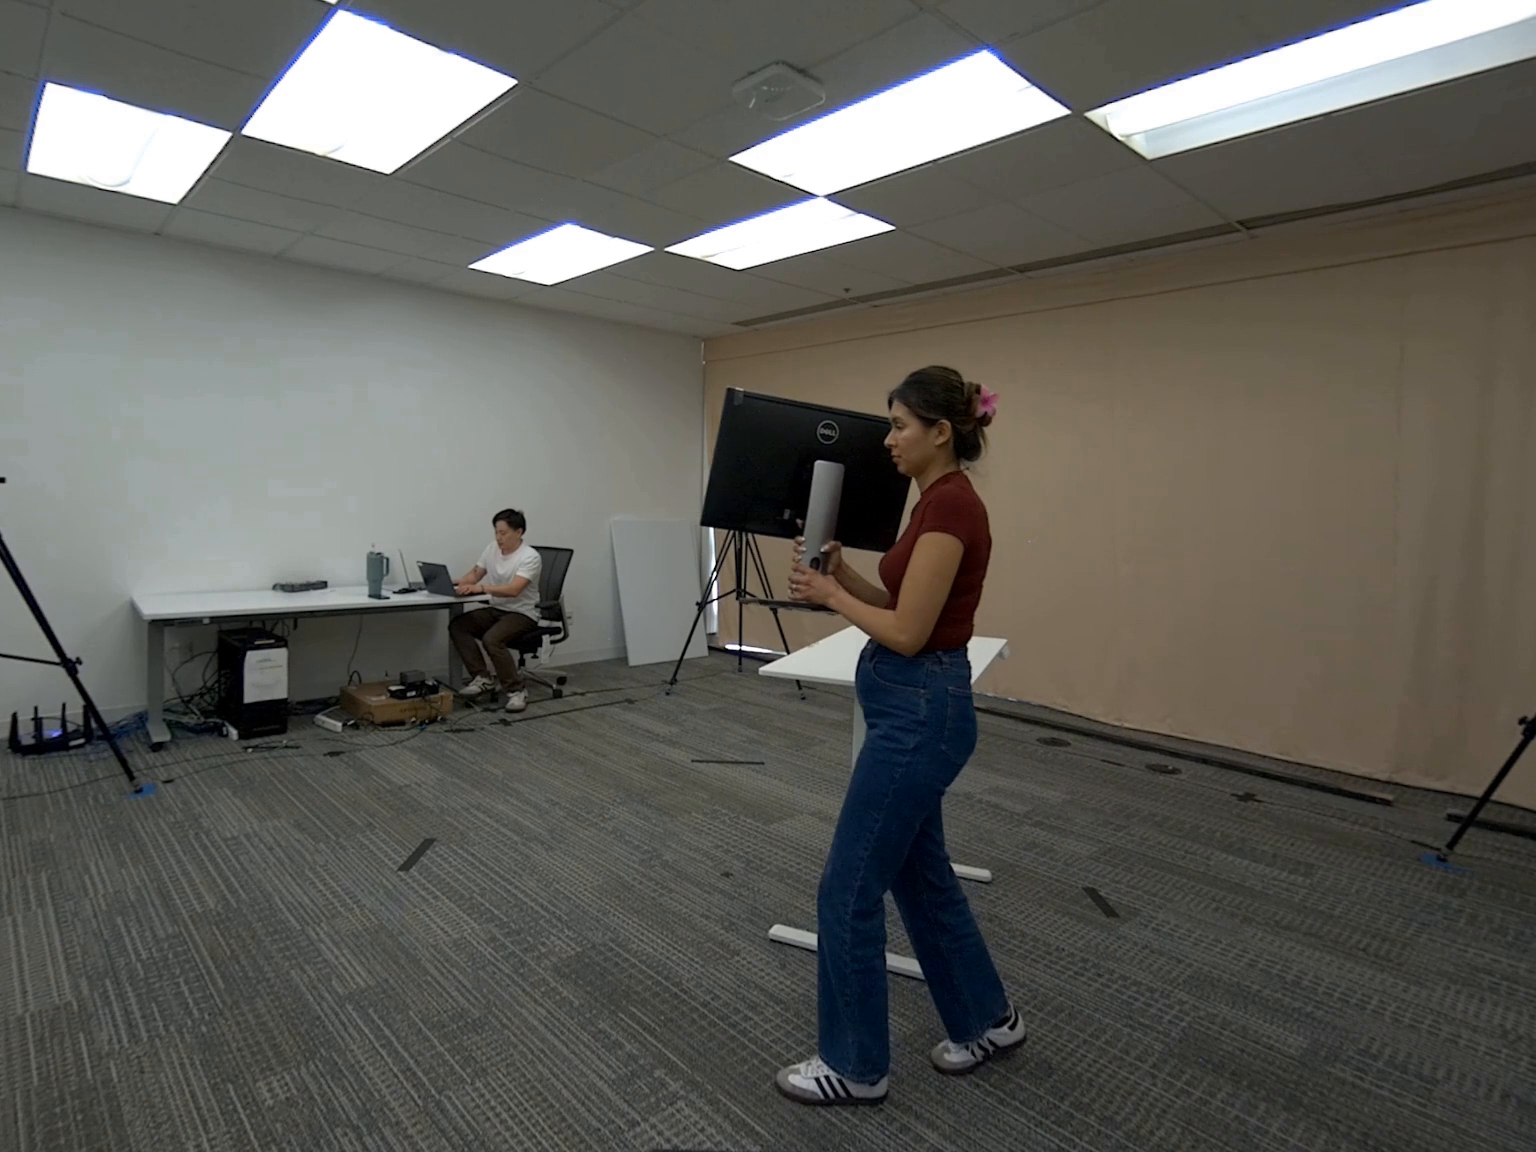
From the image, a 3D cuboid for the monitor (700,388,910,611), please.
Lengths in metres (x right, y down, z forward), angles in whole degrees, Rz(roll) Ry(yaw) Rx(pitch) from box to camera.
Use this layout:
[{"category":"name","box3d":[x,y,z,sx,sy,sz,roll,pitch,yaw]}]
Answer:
[{"category":"monitor","box3d":[0.108,-0.168,2.110,0.532,0.522,0.190,8,1,-15]}]
